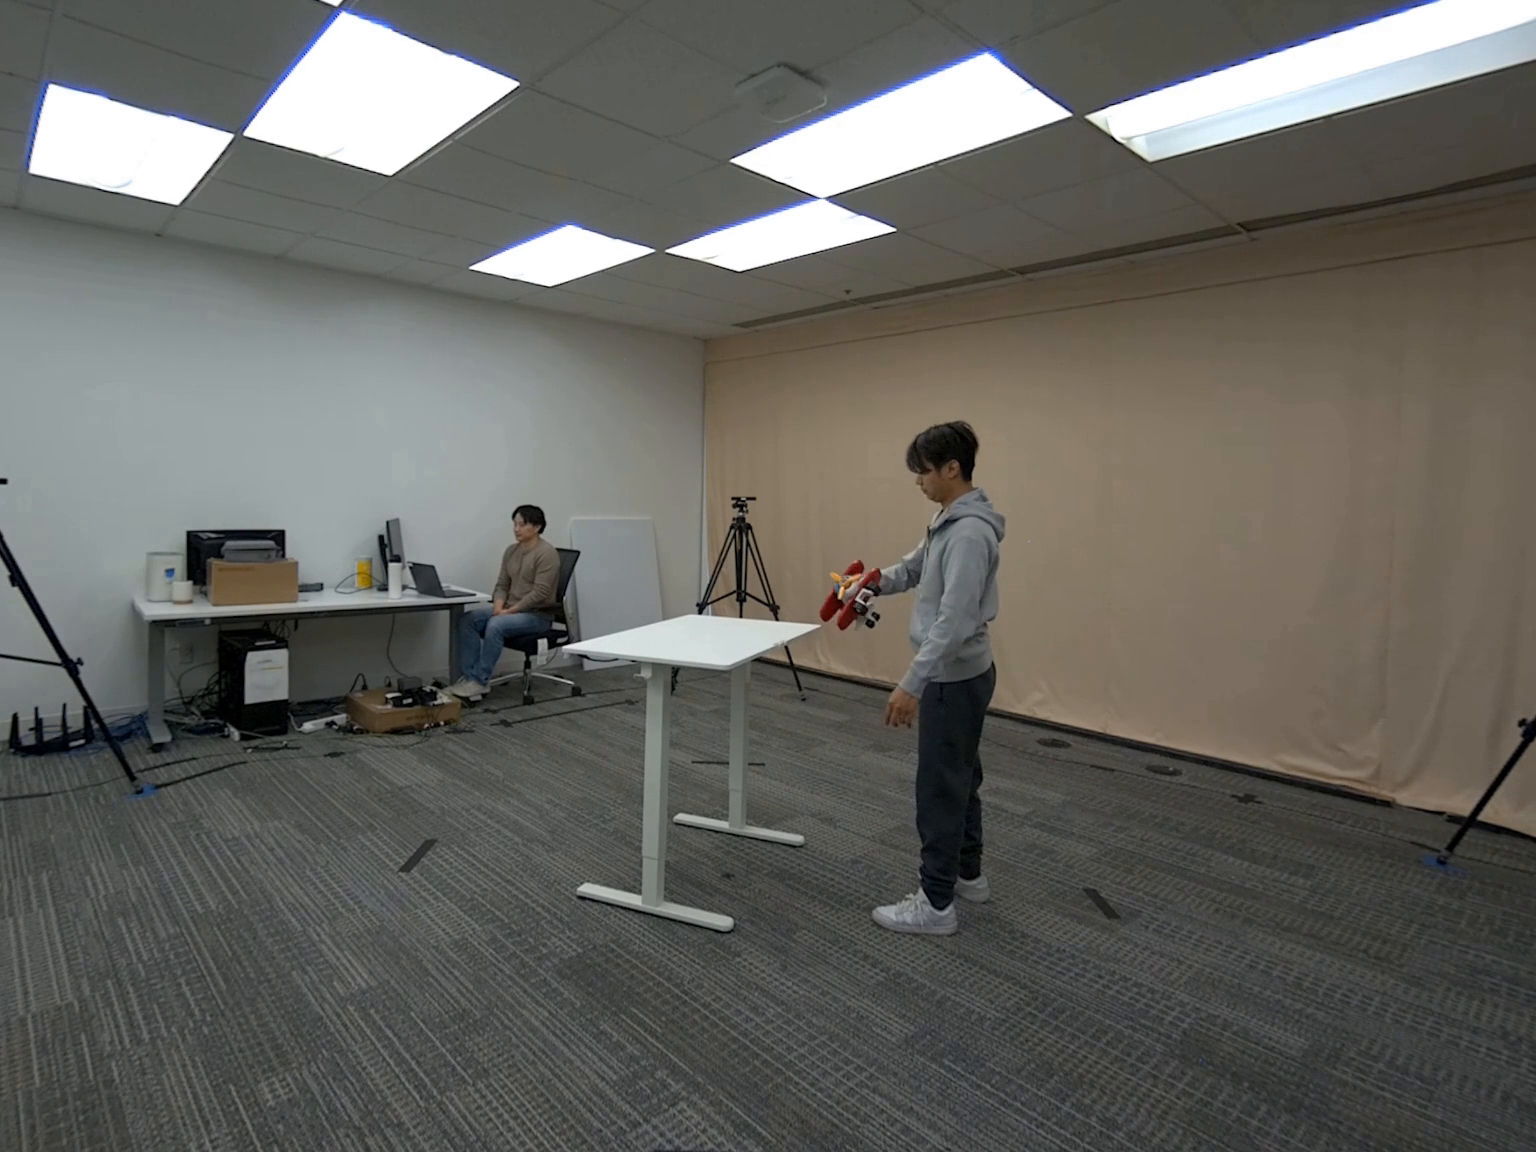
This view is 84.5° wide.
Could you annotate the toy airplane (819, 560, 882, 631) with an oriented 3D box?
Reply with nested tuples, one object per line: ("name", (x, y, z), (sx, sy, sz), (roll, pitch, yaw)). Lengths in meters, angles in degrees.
("toy airplane", (0.292, 0.100, 2.963), (0.160, 0.254, 0.250), (31, 47, 24))
